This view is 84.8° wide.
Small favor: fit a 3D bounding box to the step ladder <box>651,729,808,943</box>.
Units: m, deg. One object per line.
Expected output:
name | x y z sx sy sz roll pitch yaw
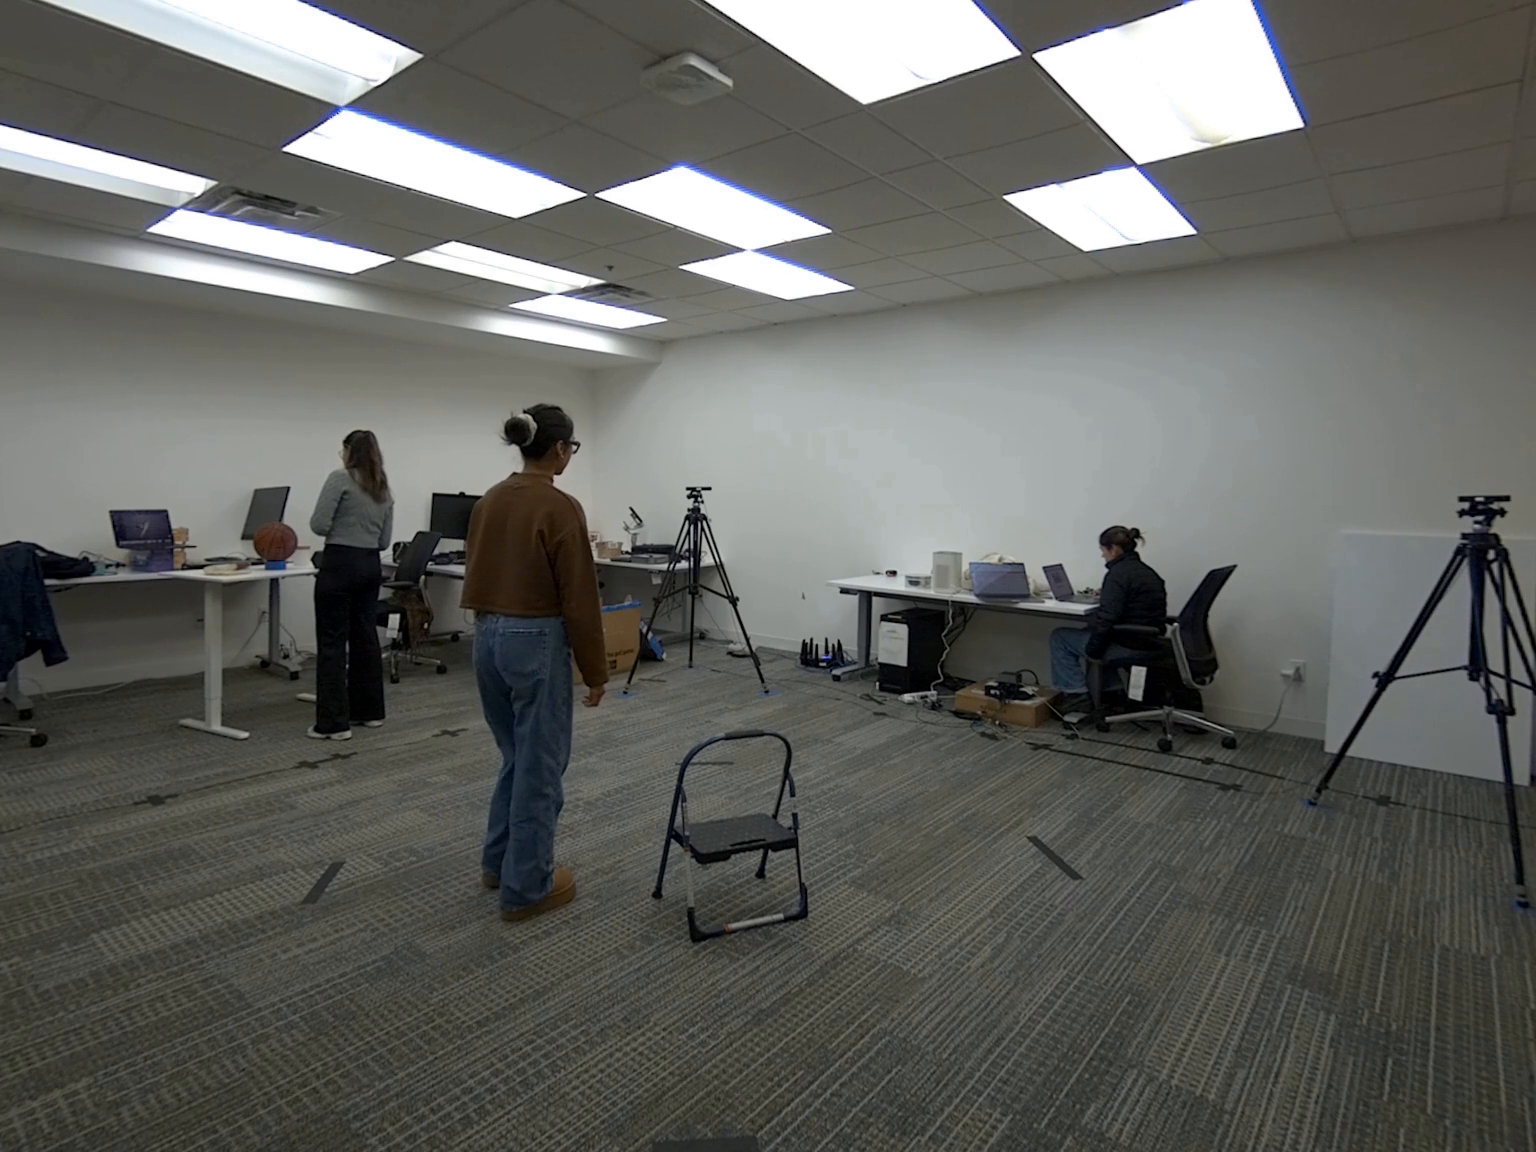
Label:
step ladder | -0.132 0.799 2.810 0.420 0.604 0.359 -1 4 -27
